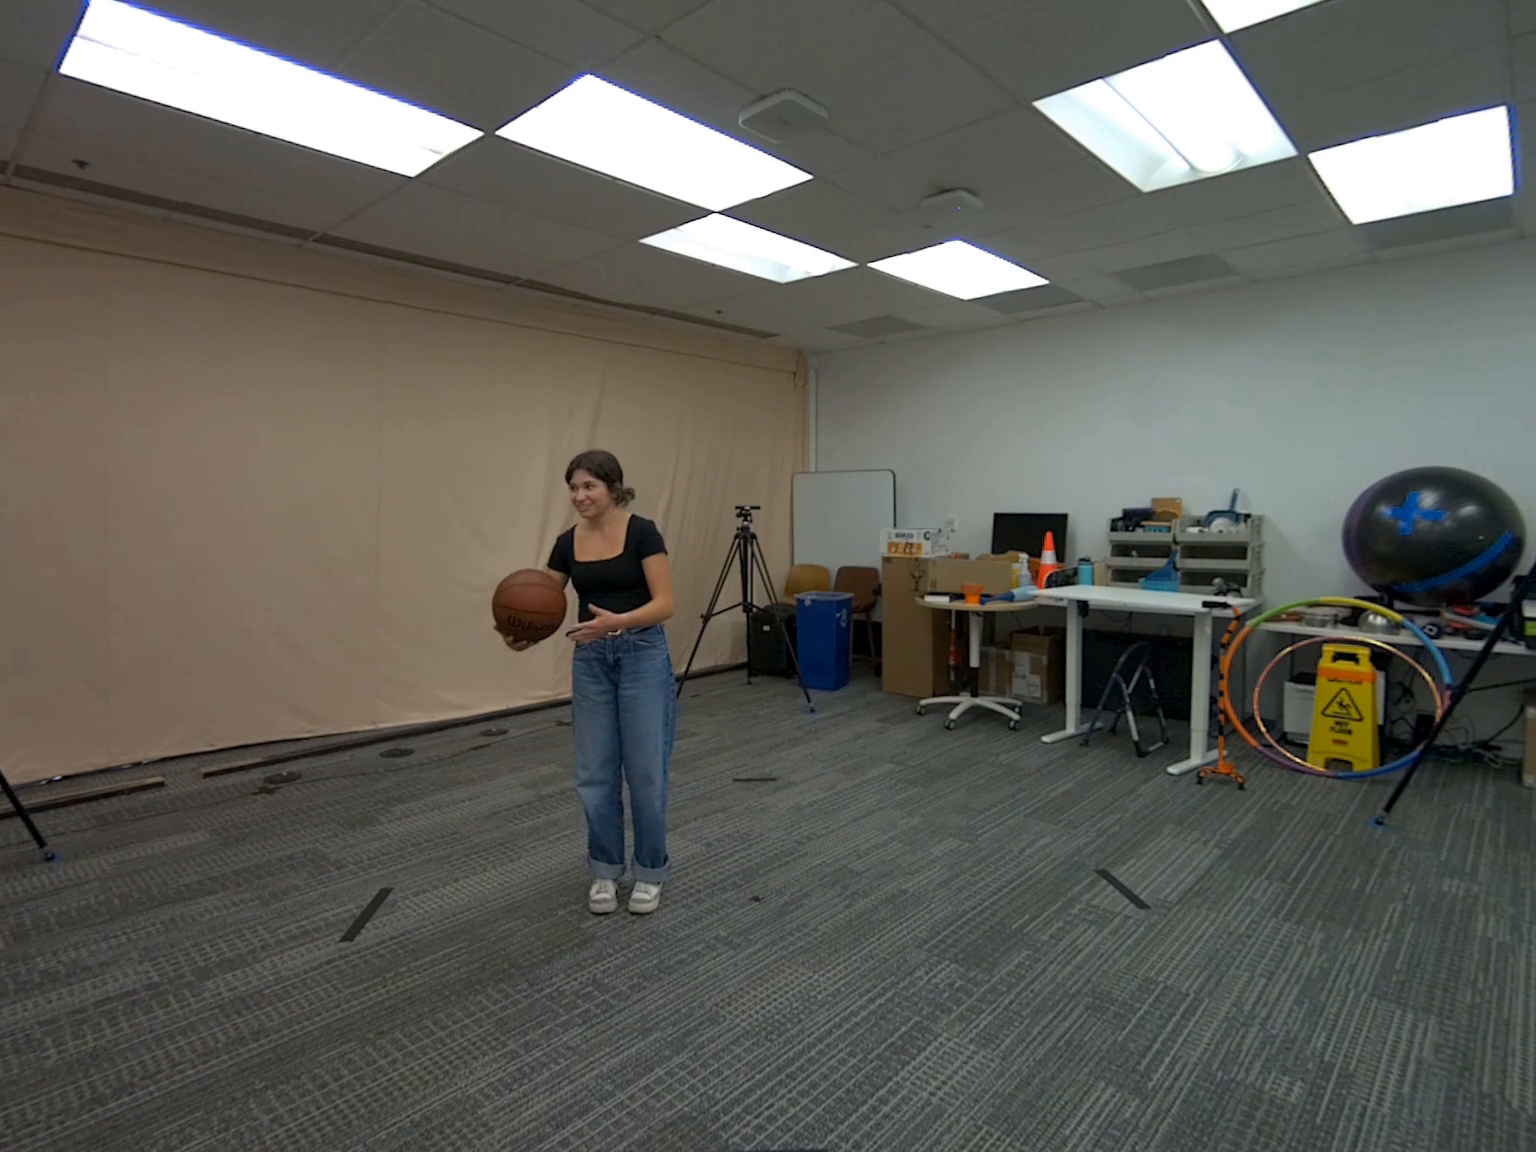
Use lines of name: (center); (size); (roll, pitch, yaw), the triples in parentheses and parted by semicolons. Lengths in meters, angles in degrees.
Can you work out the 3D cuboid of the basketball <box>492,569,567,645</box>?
basketball: (-0.757, 0.101, 2.745); (0.236, 0.235, 0.237); (0, 4, -2)
